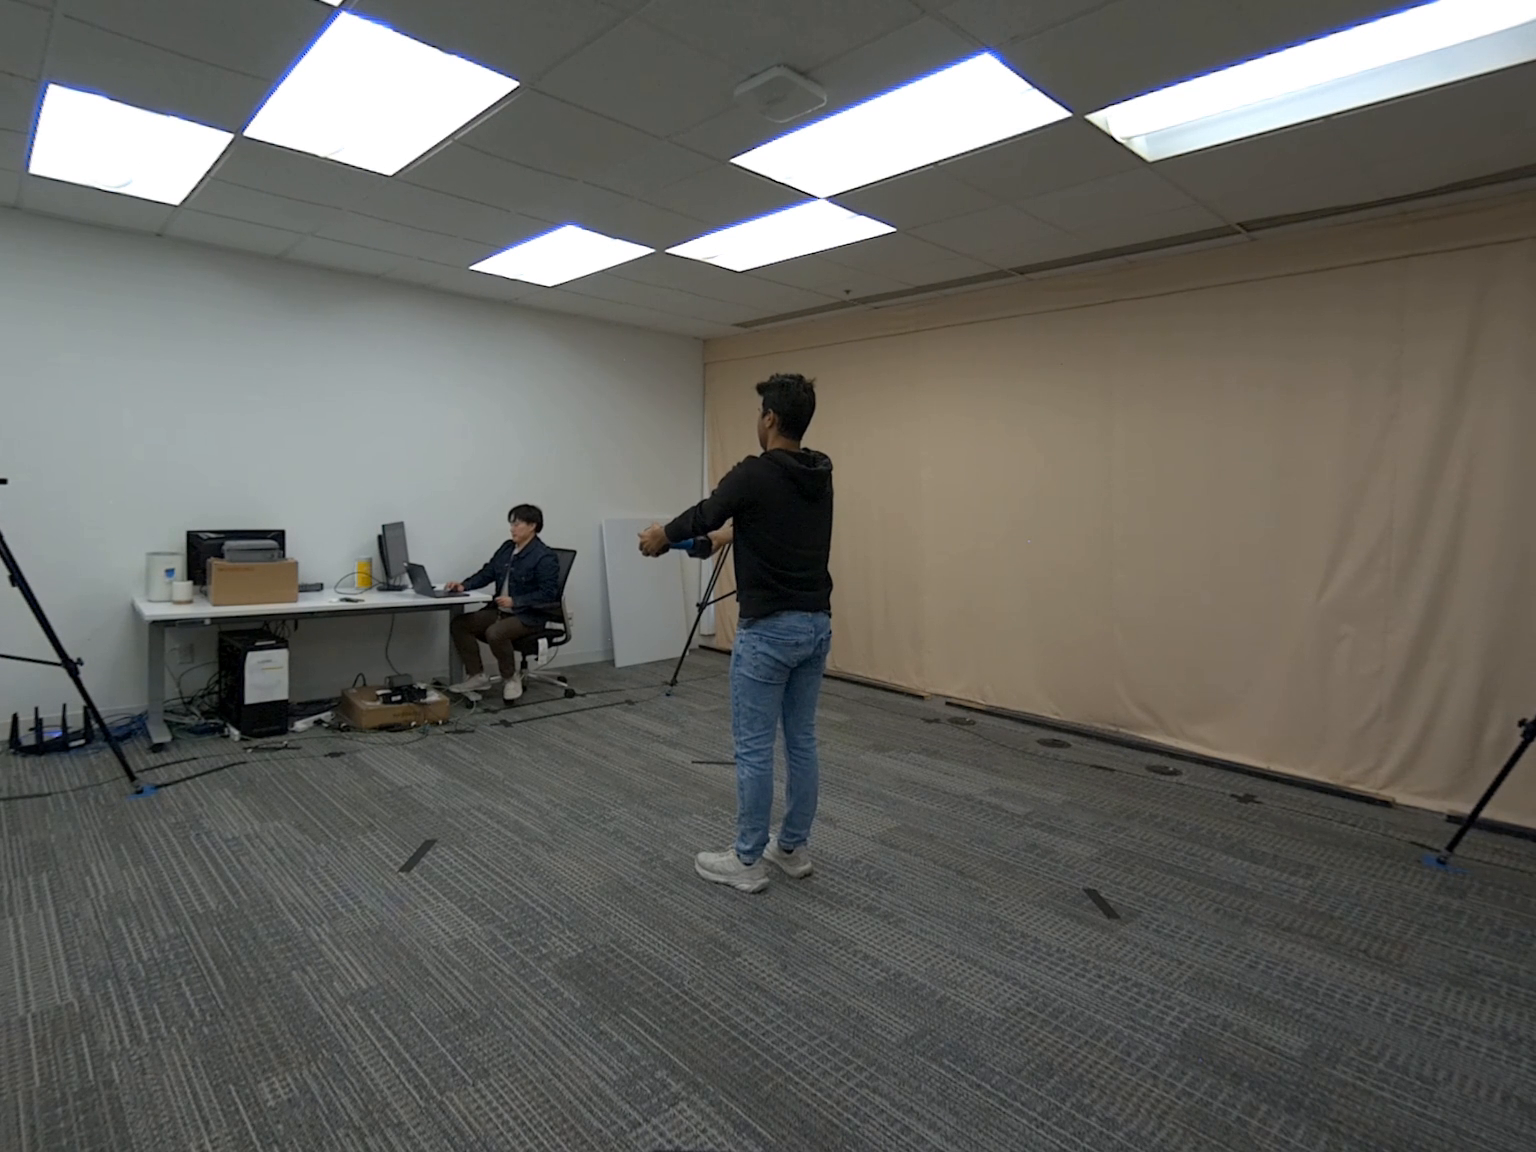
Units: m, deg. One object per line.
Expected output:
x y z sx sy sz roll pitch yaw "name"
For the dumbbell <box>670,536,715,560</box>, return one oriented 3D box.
-0.374 -0.139 3.442 0.286 0.108 0.126 2 42 -41 "dumbbell"
